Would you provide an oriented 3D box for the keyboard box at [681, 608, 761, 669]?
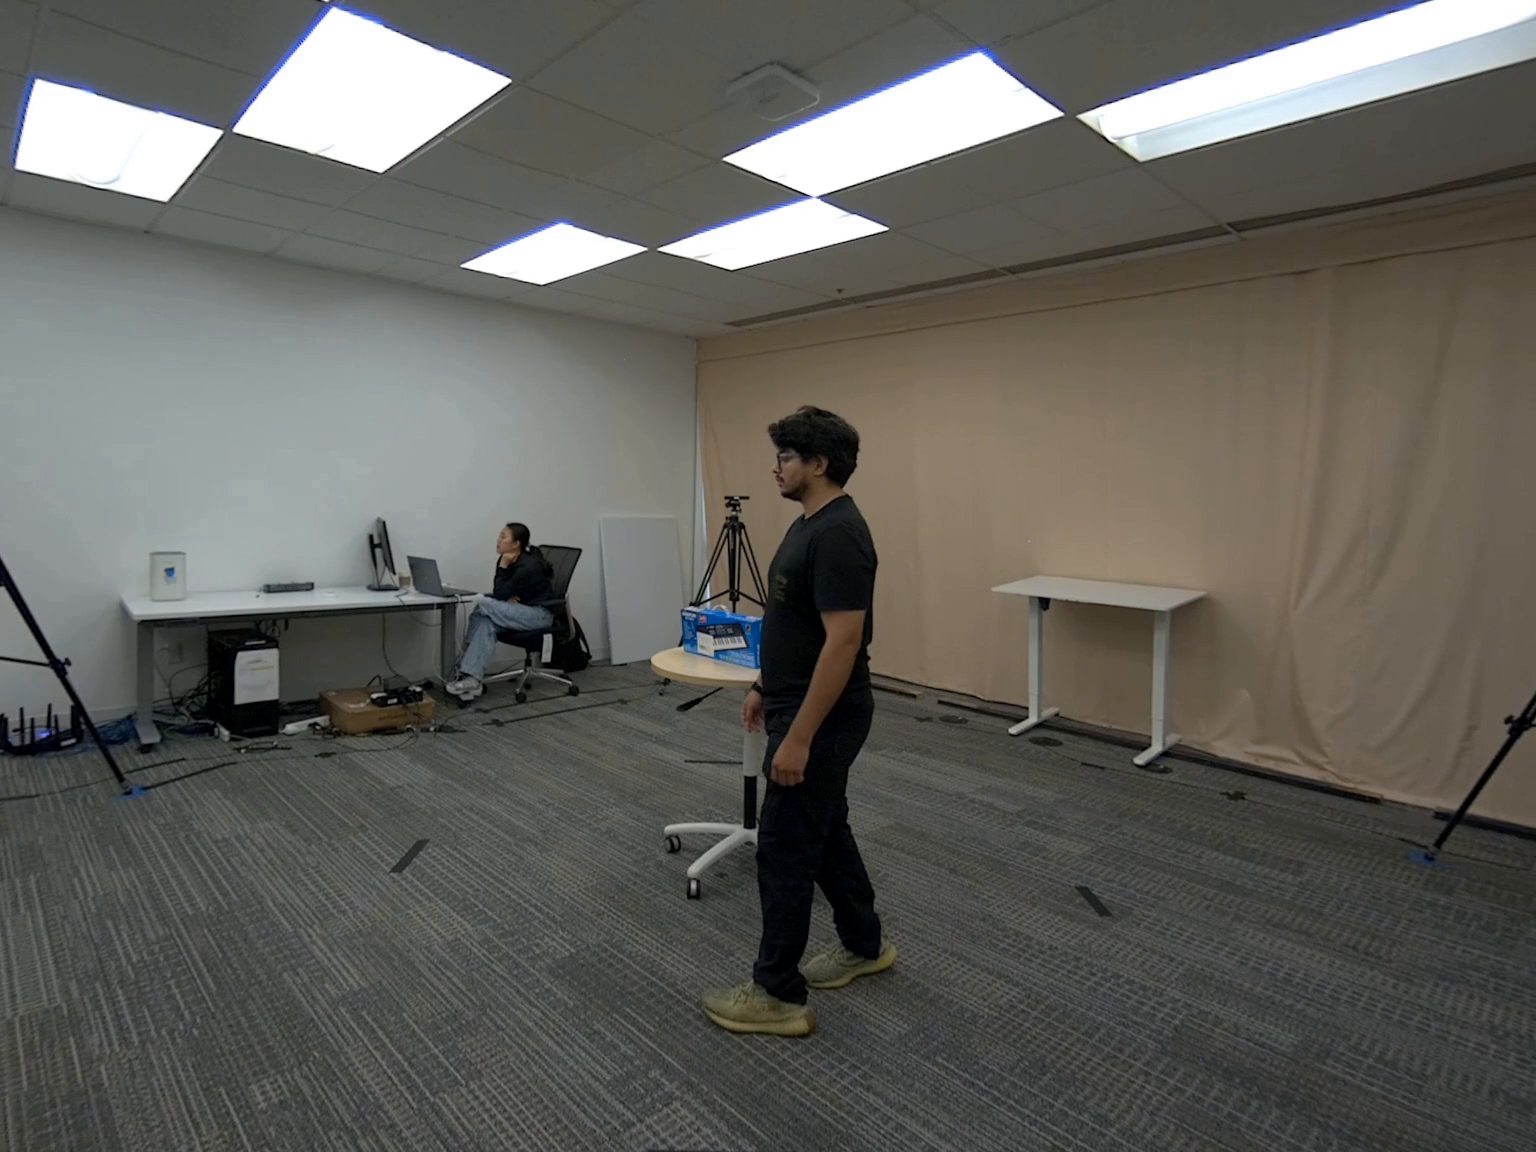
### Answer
[{"bbox_3d":[-0.178,0.229,3.166,0.058,0.175,0.448,-8,9,-40],"label":"keyboard box"}]
